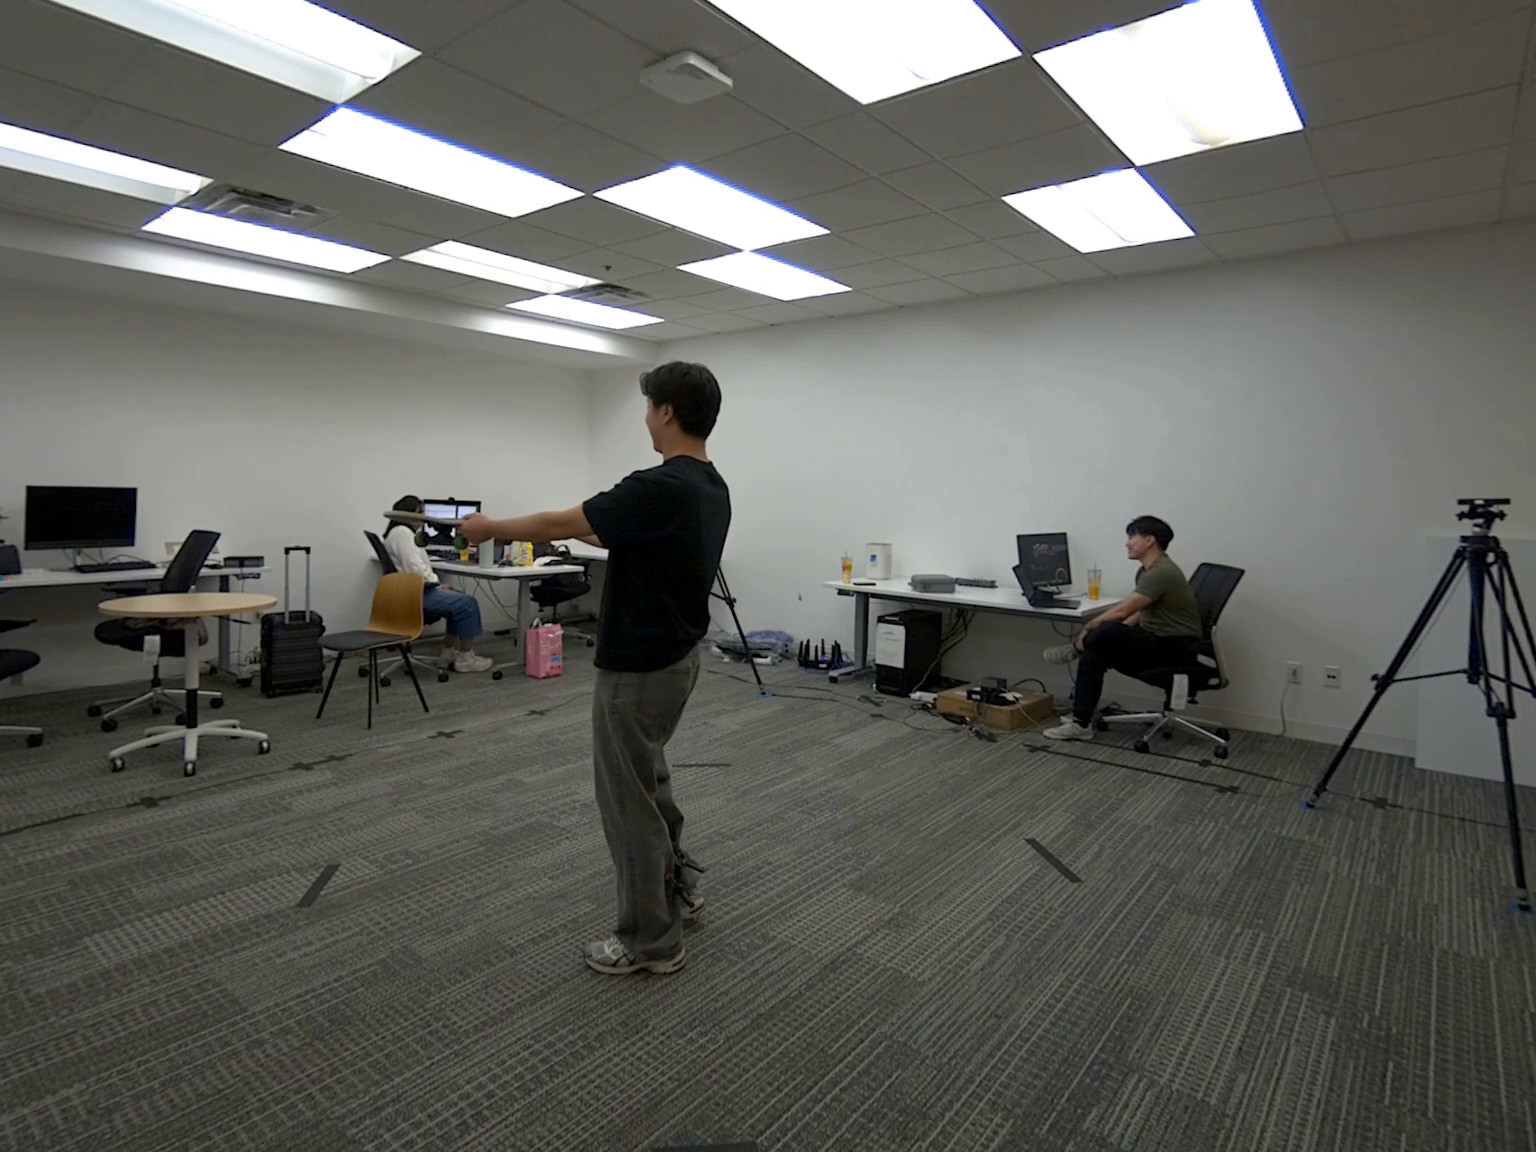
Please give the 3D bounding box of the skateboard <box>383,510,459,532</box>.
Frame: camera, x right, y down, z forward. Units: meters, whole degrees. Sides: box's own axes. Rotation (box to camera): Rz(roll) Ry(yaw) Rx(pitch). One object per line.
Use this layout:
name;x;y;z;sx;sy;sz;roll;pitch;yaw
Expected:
skateboard;-0.915;-0.142;2.715;0.198;0.110;0.768;-1;3;23
